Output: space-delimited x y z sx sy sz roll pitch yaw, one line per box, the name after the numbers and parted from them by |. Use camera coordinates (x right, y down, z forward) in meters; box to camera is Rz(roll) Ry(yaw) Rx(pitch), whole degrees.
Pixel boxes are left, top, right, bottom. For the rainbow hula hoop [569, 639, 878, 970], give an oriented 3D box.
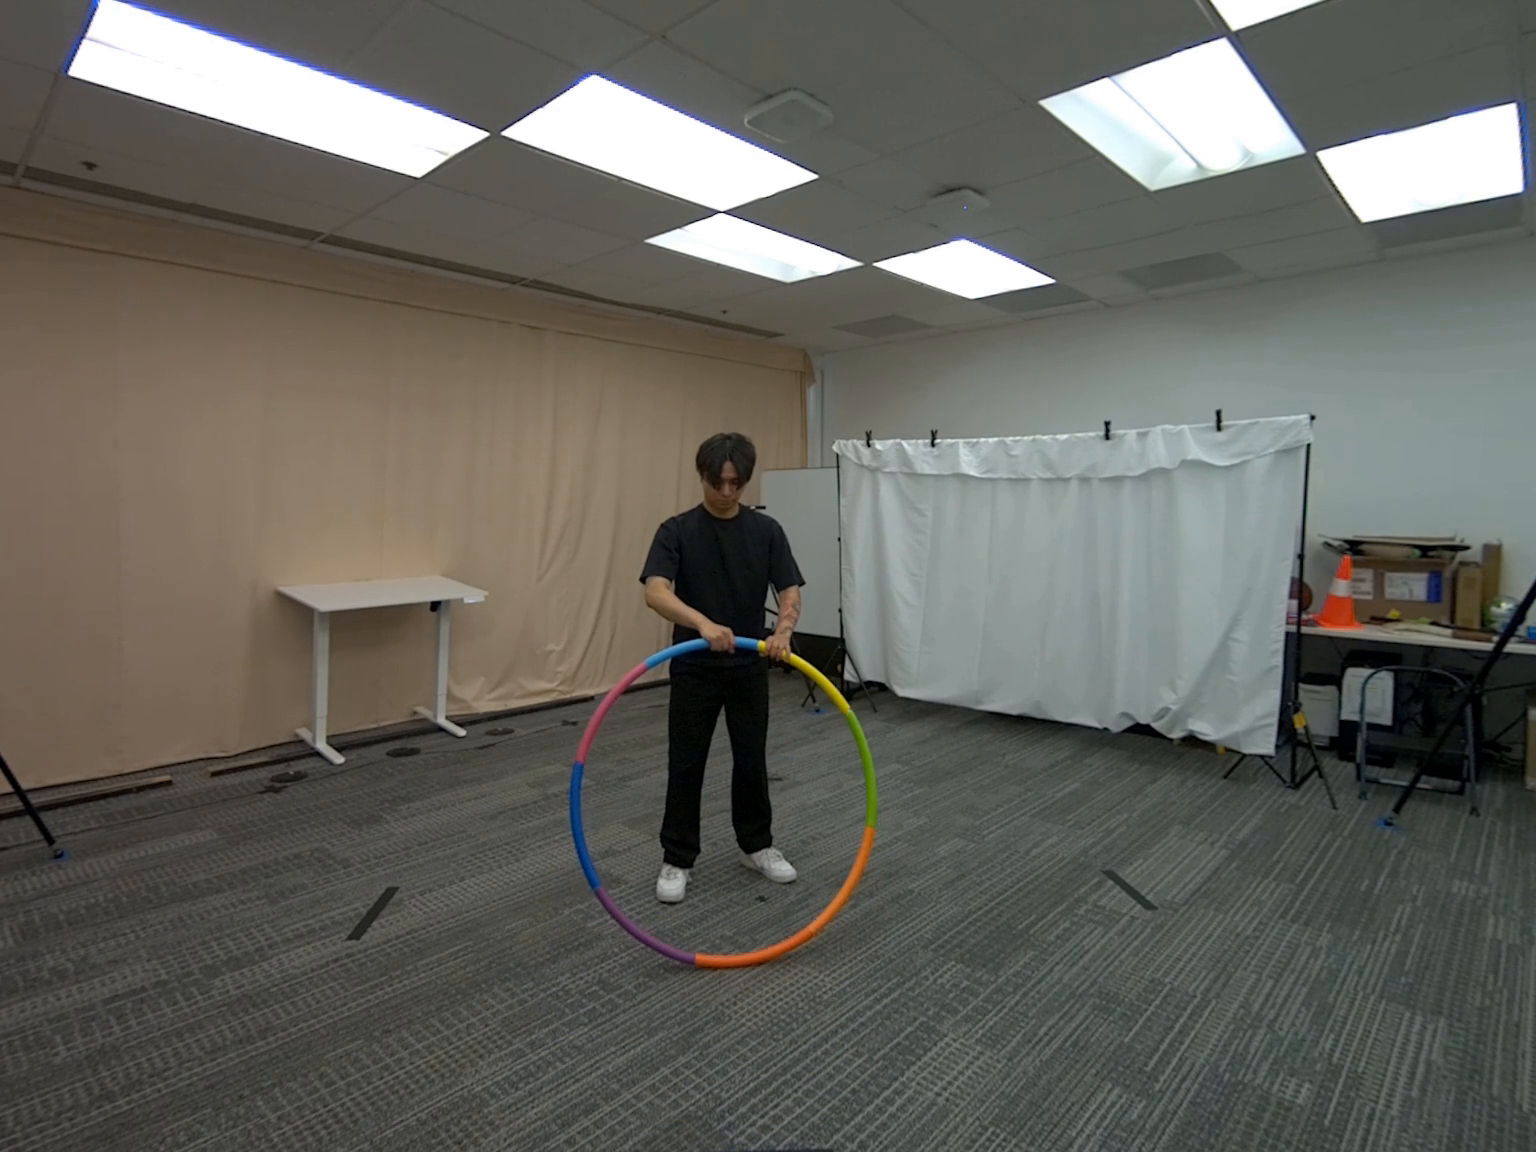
-0.117 0.695 2.641 0.969 0.986 0.035 -1 -12 -8 | rainbow hula hoop
